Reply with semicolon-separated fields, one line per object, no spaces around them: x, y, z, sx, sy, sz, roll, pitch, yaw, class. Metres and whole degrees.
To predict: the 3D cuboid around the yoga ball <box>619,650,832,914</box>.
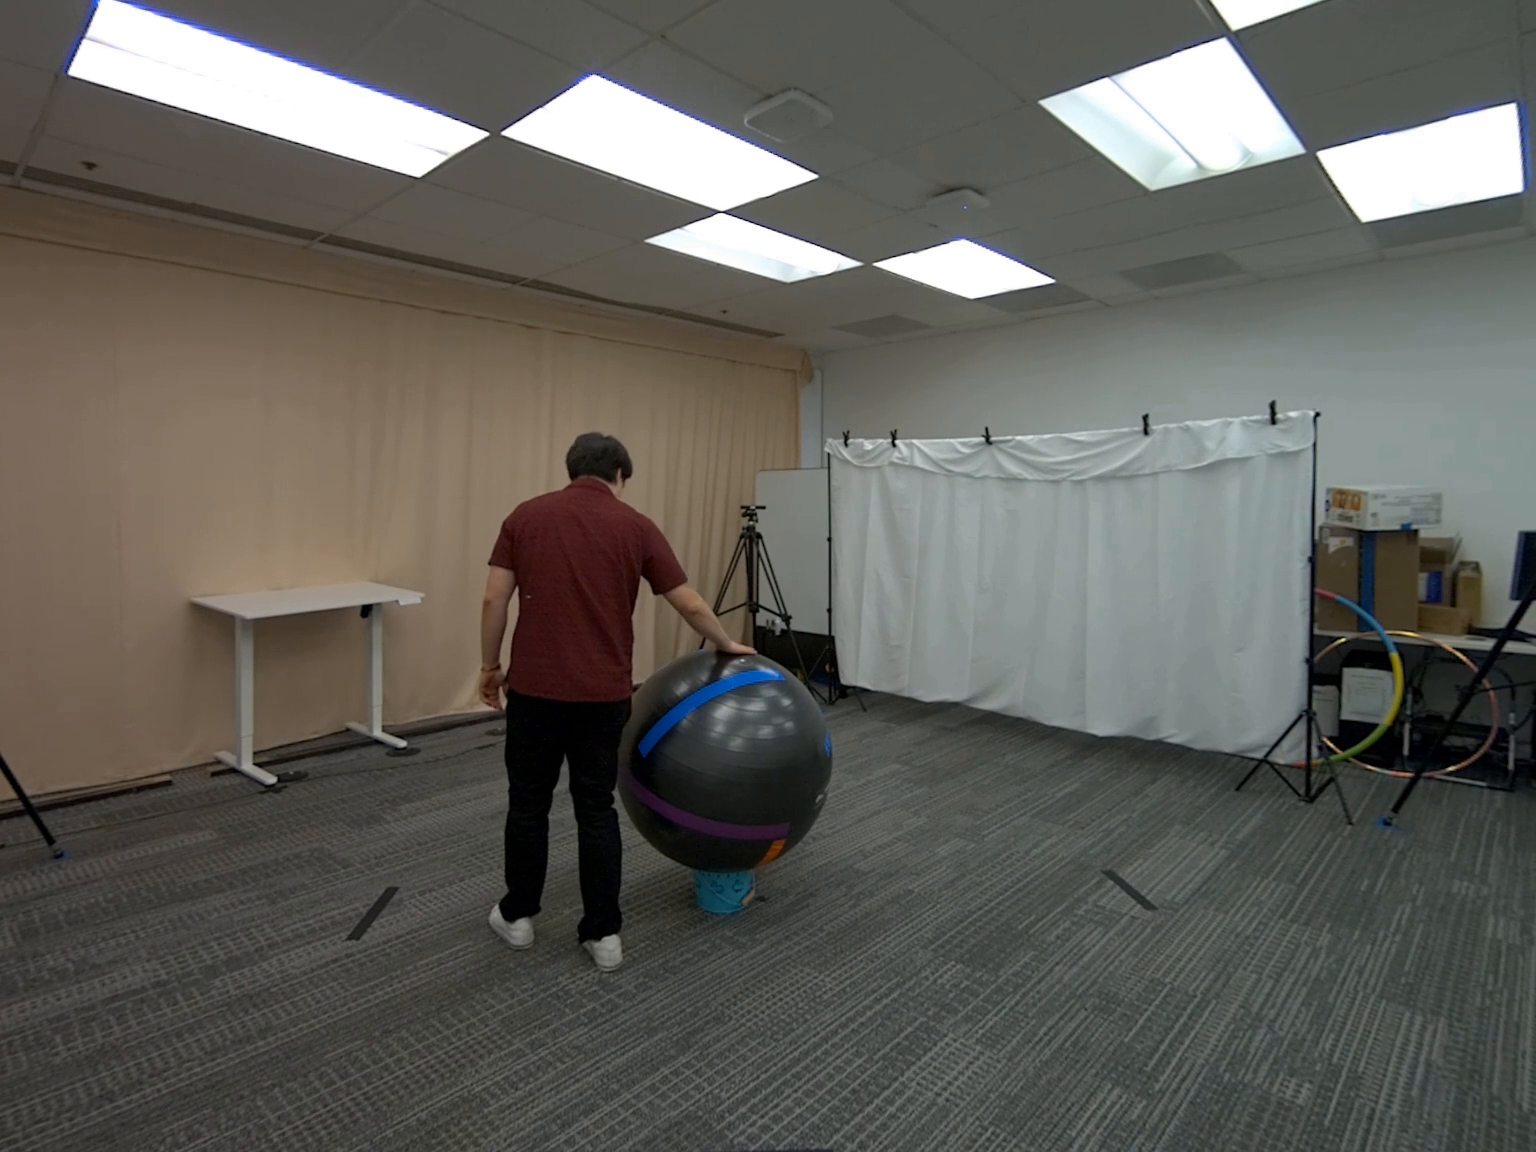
-0.148;0.637;2.943;0.757;0.756;0.760;0;4;-2;yoga ball
